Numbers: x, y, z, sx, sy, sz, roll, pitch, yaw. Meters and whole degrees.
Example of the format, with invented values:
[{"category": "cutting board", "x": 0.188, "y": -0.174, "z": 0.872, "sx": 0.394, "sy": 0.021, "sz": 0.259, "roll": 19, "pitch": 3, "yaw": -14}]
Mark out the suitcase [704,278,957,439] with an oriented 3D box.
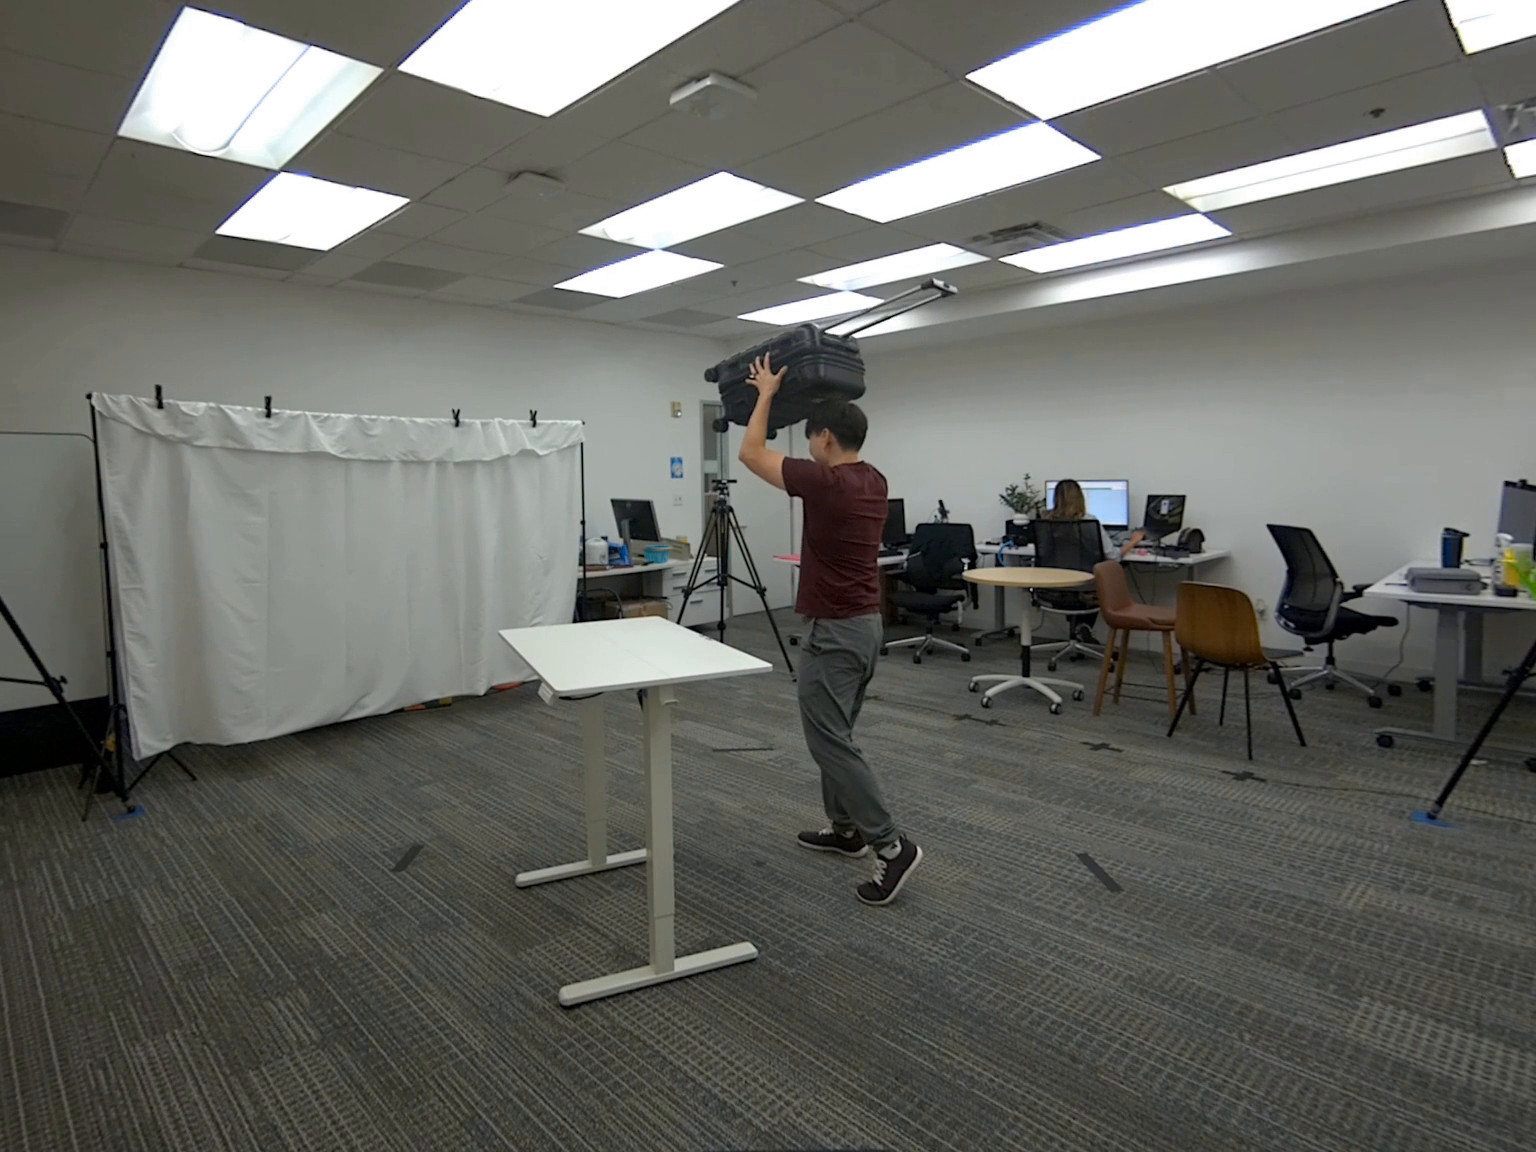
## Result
[{"category": "suitcase", "x": 0.232, "y": -0.772, "z": 3.148, "sx": 1.000, "sy": 0.259, "sz": 0.373, "roll": -12, "pitch": -7, "yaw": 42}]
